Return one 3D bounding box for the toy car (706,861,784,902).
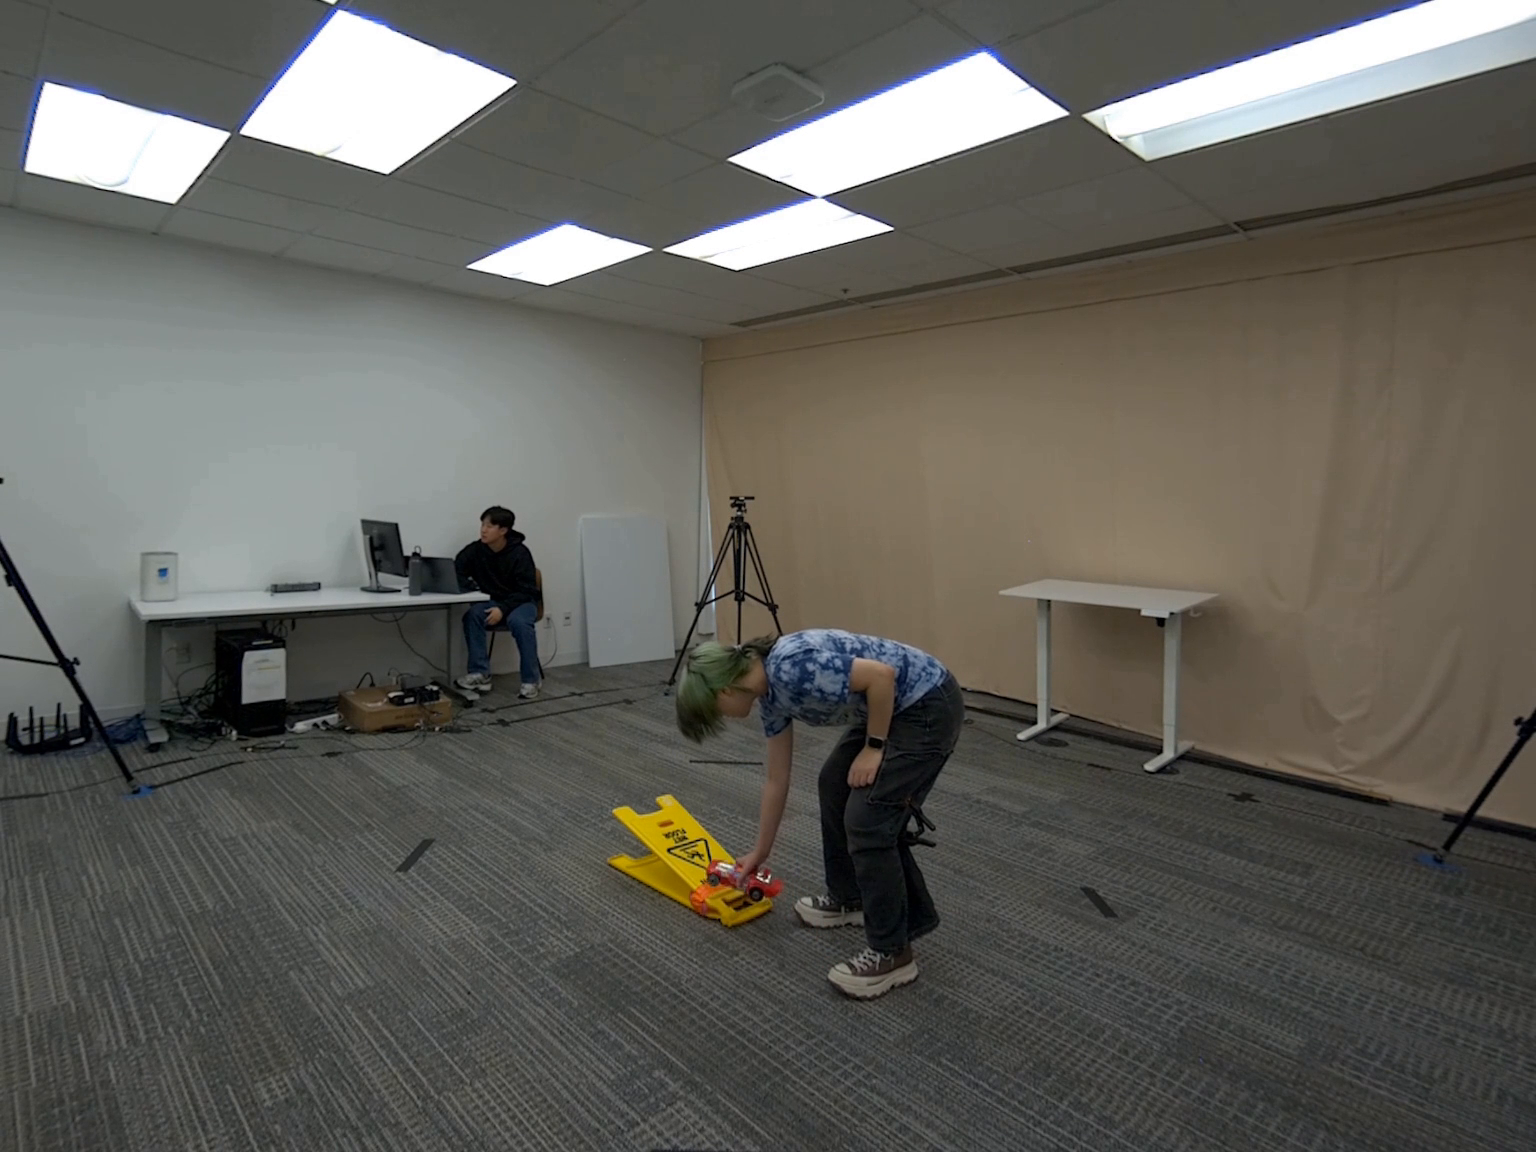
[{"bbox_3d":[-0.070,0.996,2.746,0.256,0.083,0.130,3,4,7],"label":"toy car"}]
